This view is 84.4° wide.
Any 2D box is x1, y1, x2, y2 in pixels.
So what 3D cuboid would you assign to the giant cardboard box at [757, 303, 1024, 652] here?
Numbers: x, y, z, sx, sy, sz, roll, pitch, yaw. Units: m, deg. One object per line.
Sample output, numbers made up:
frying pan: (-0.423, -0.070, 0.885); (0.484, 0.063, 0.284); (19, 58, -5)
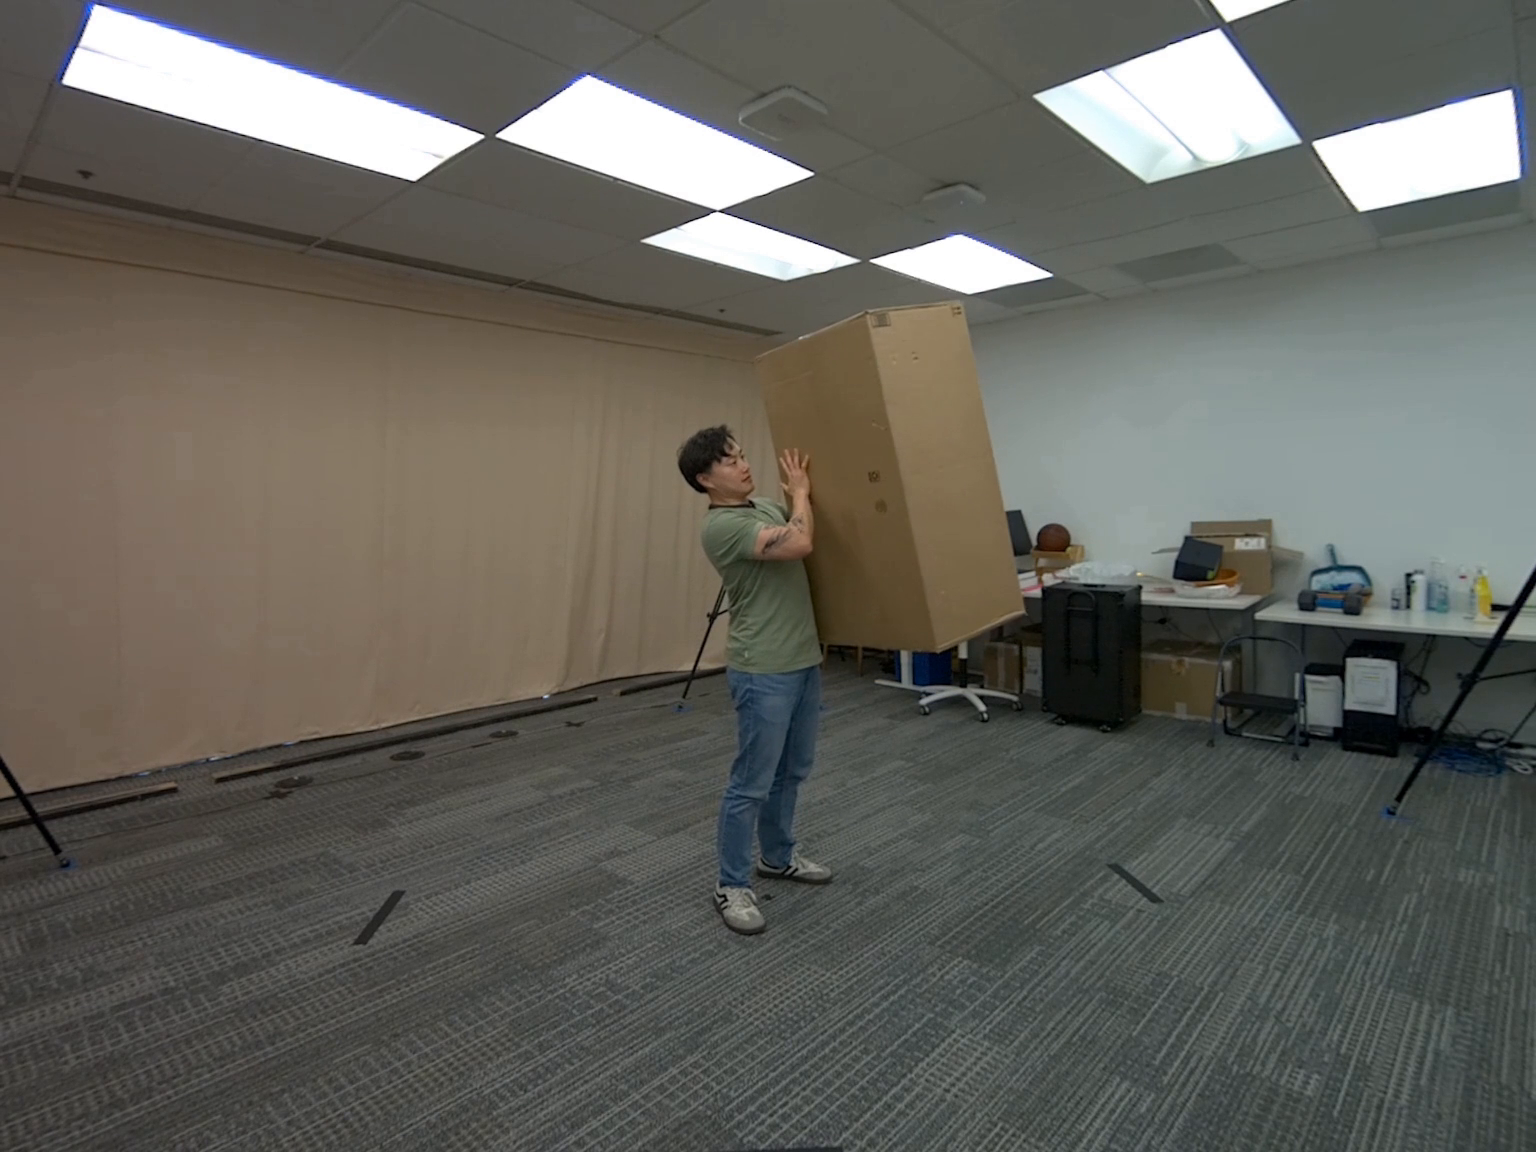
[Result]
giant cardboard box: (0.400, -0.309, 2.811); (0.416, 1.021, 0.594); (-16, 6, -34)
